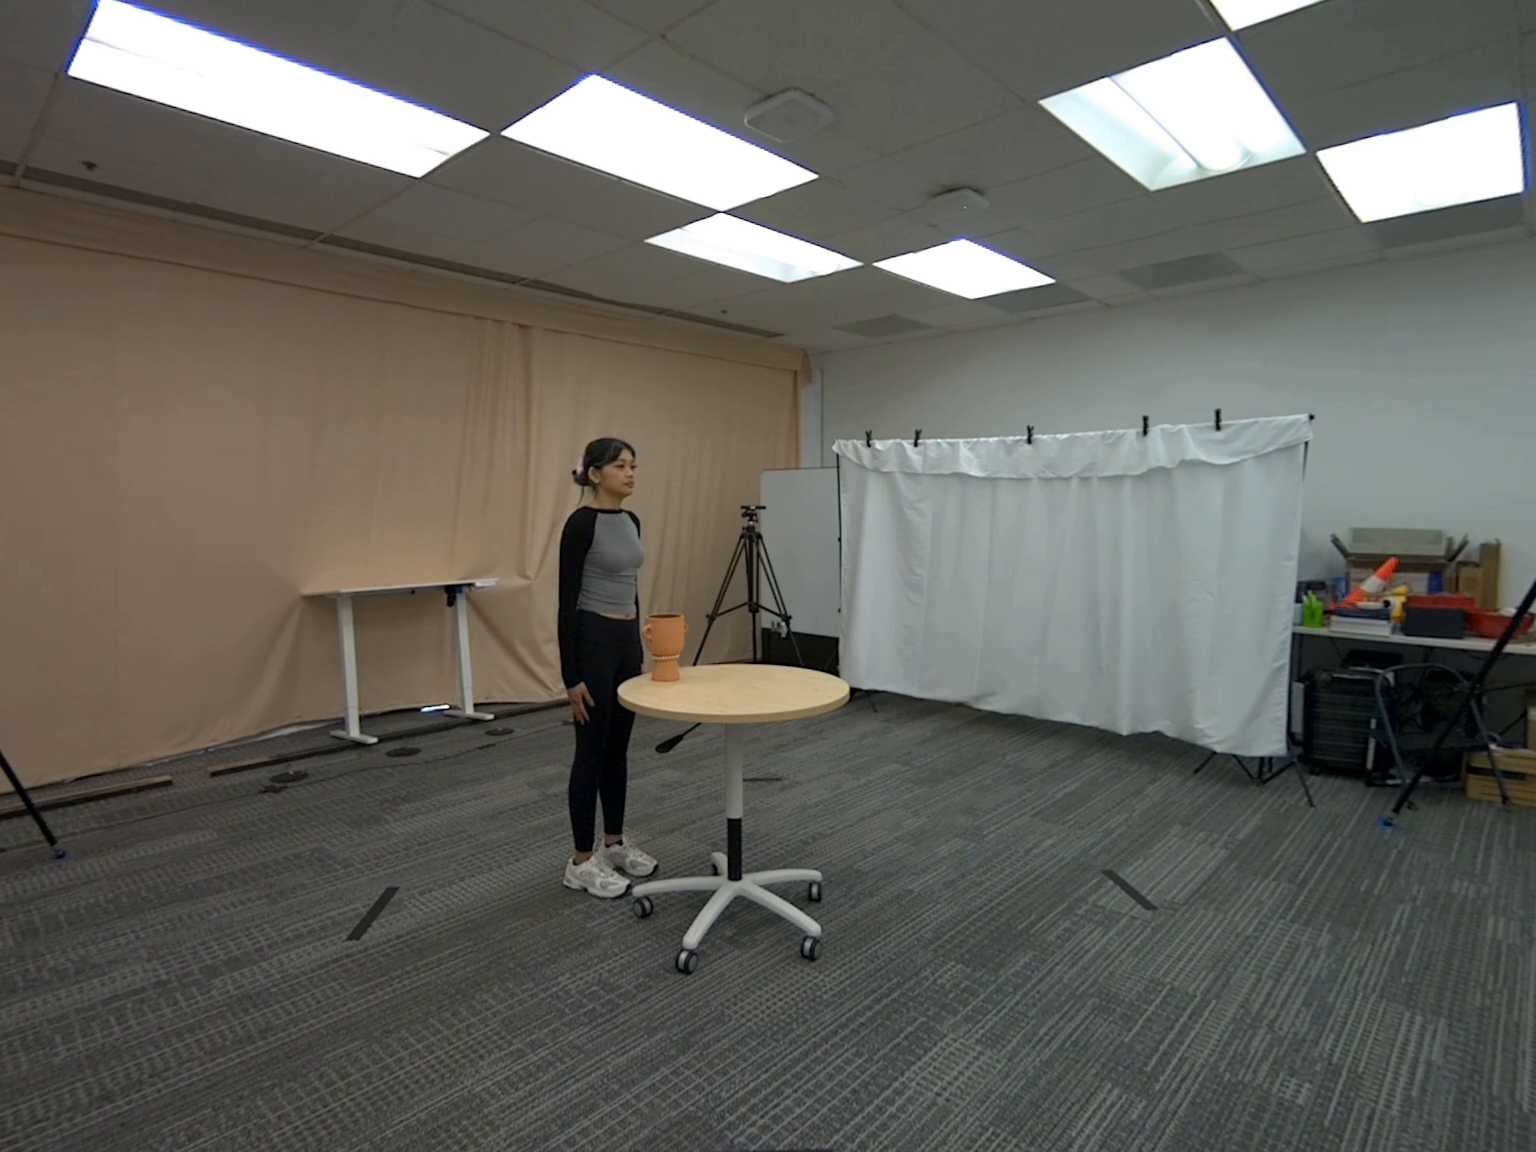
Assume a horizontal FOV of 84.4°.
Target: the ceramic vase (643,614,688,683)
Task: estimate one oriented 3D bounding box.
[{"bbox_3d":[-0.359,0.251,2.922,0.158,0.219,0.135,-1,3,-5],"label":"ceramic vase"}]
